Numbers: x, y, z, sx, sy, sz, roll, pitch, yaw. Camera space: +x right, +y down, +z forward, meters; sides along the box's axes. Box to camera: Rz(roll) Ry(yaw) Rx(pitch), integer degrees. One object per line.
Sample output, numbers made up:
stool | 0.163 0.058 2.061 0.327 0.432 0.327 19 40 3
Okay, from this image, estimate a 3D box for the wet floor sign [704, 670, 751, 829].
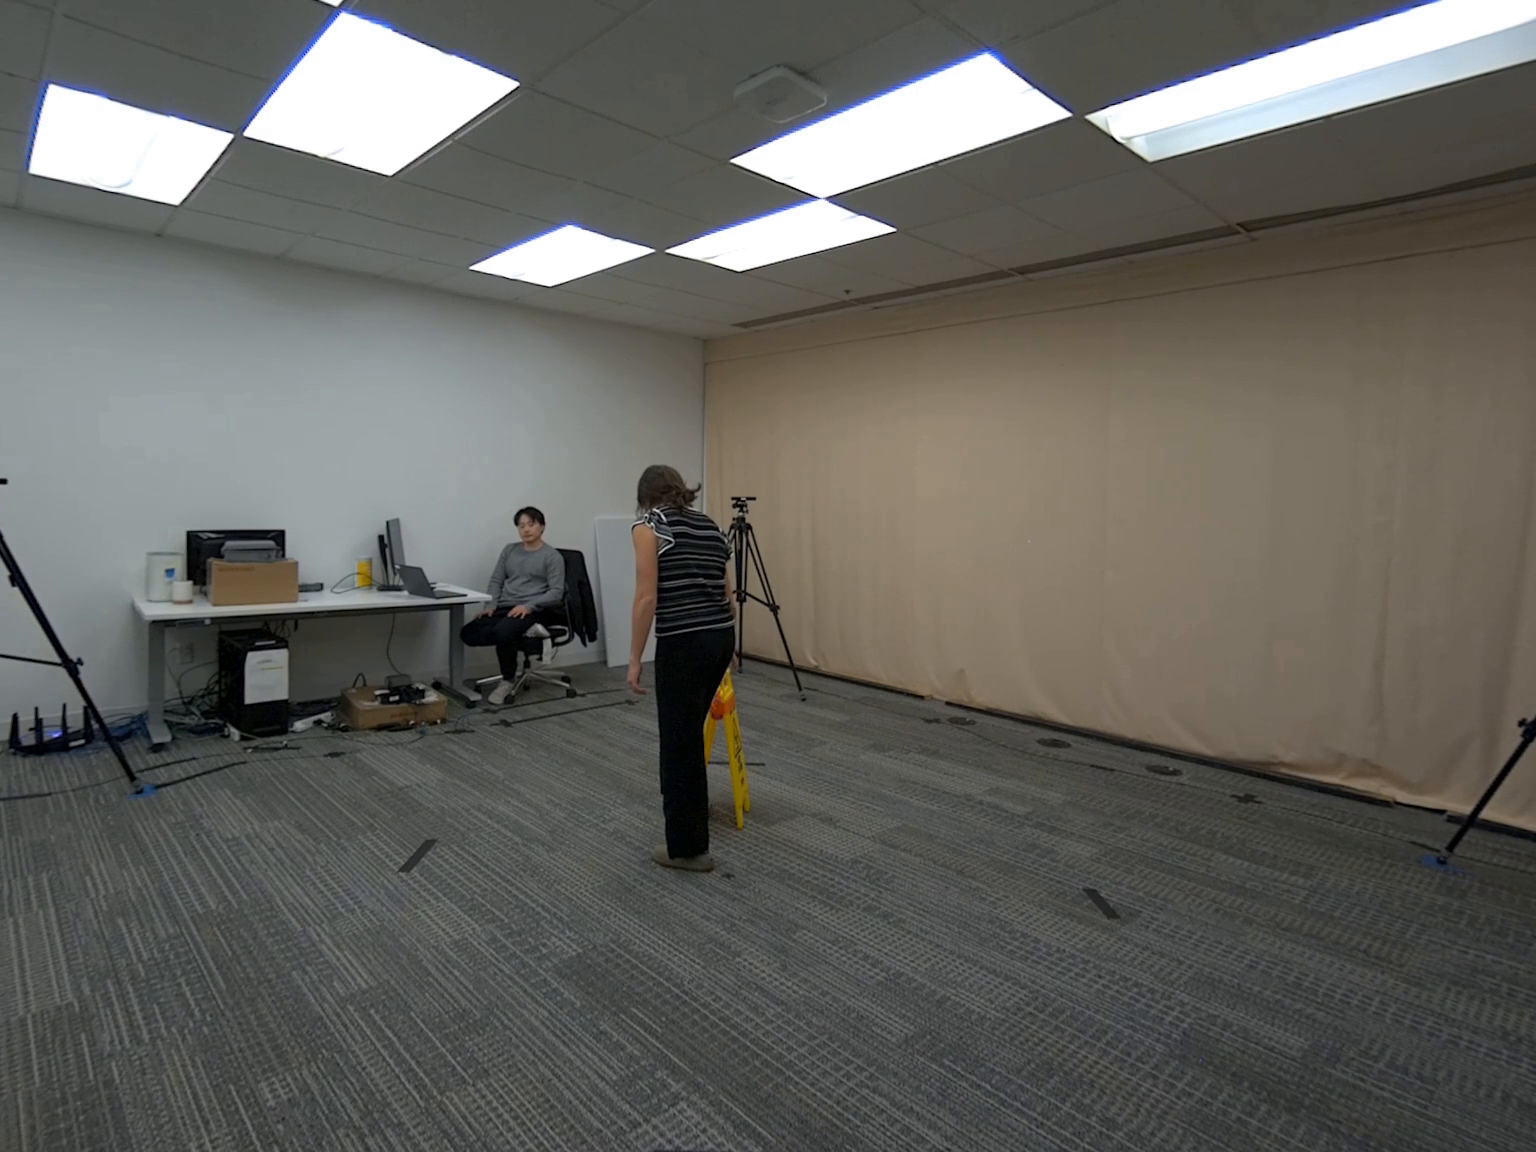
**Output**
wet floor sign | -0.213 0.732 3.690 0.292 0.644 0.281 4 4 7
